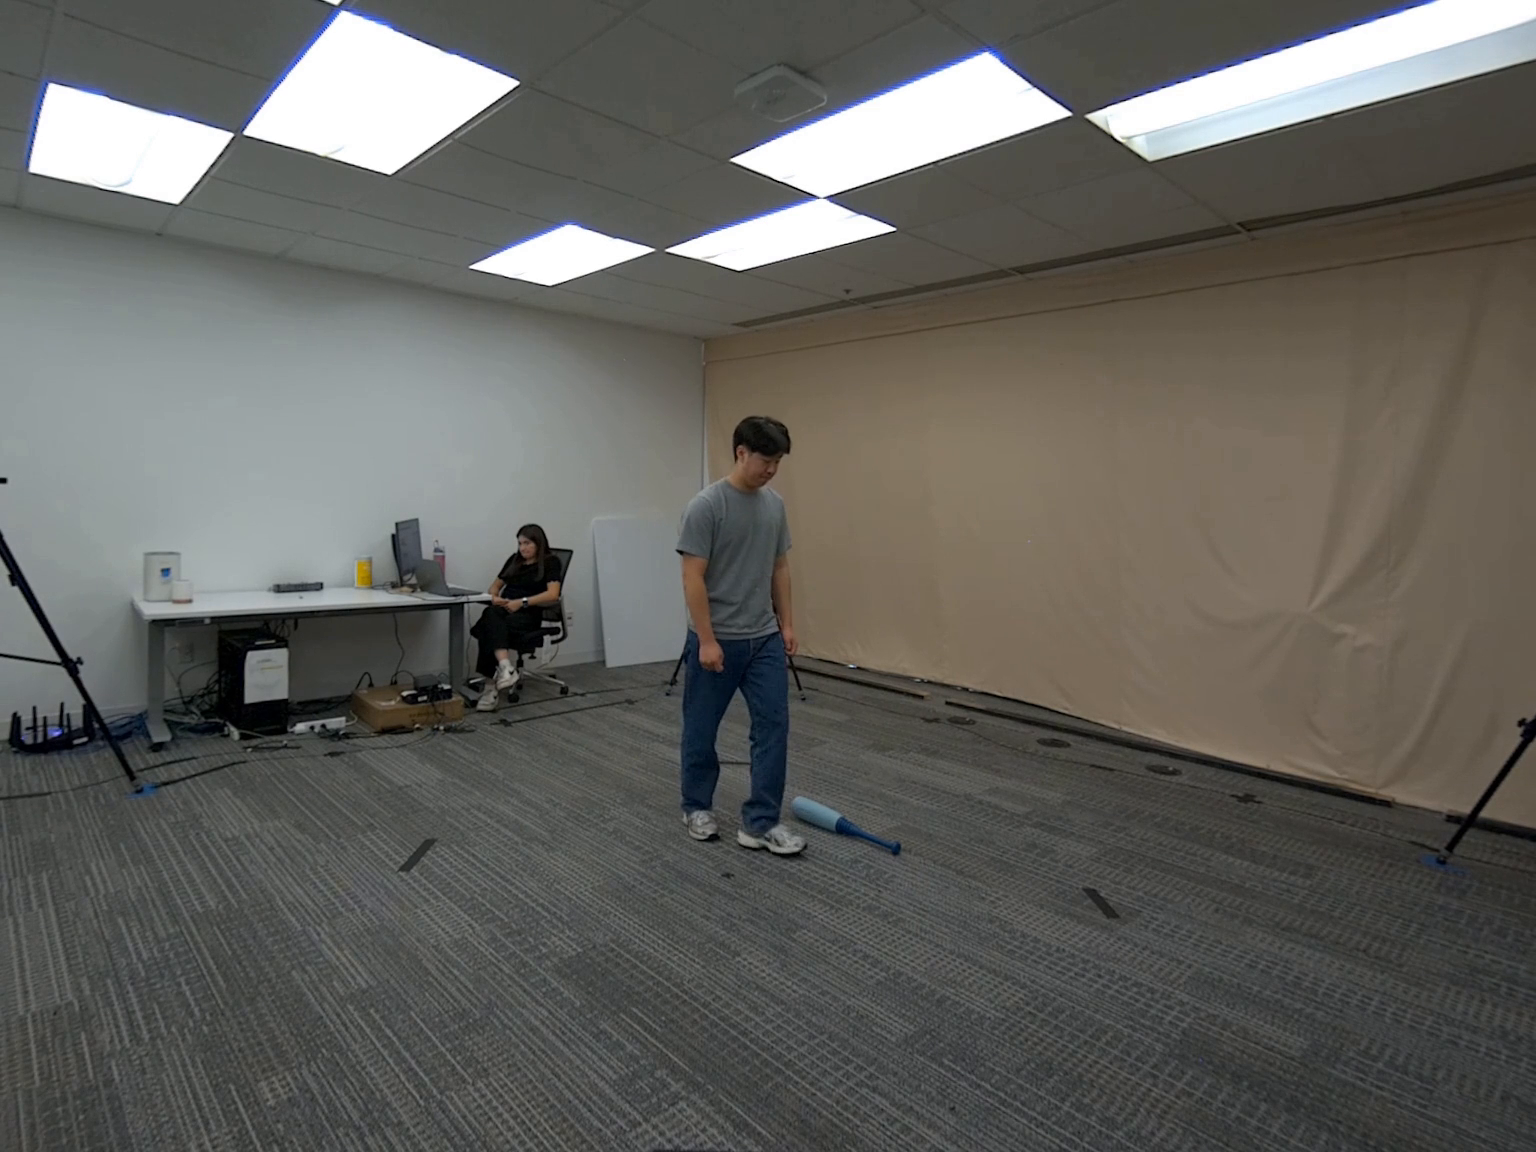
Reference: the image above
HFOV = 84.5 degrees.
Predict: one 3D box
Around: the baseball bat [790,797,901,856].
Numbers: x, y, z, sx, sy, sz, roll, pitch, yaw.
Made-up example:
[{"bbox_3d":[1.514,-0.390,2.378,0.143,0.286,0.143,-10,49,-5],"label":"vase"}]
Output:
[{"bbox_3d":[0.311,1.048,3.515,0.087,0.088,0.558,-3,10,-45],"label":"baseball bat"}]
